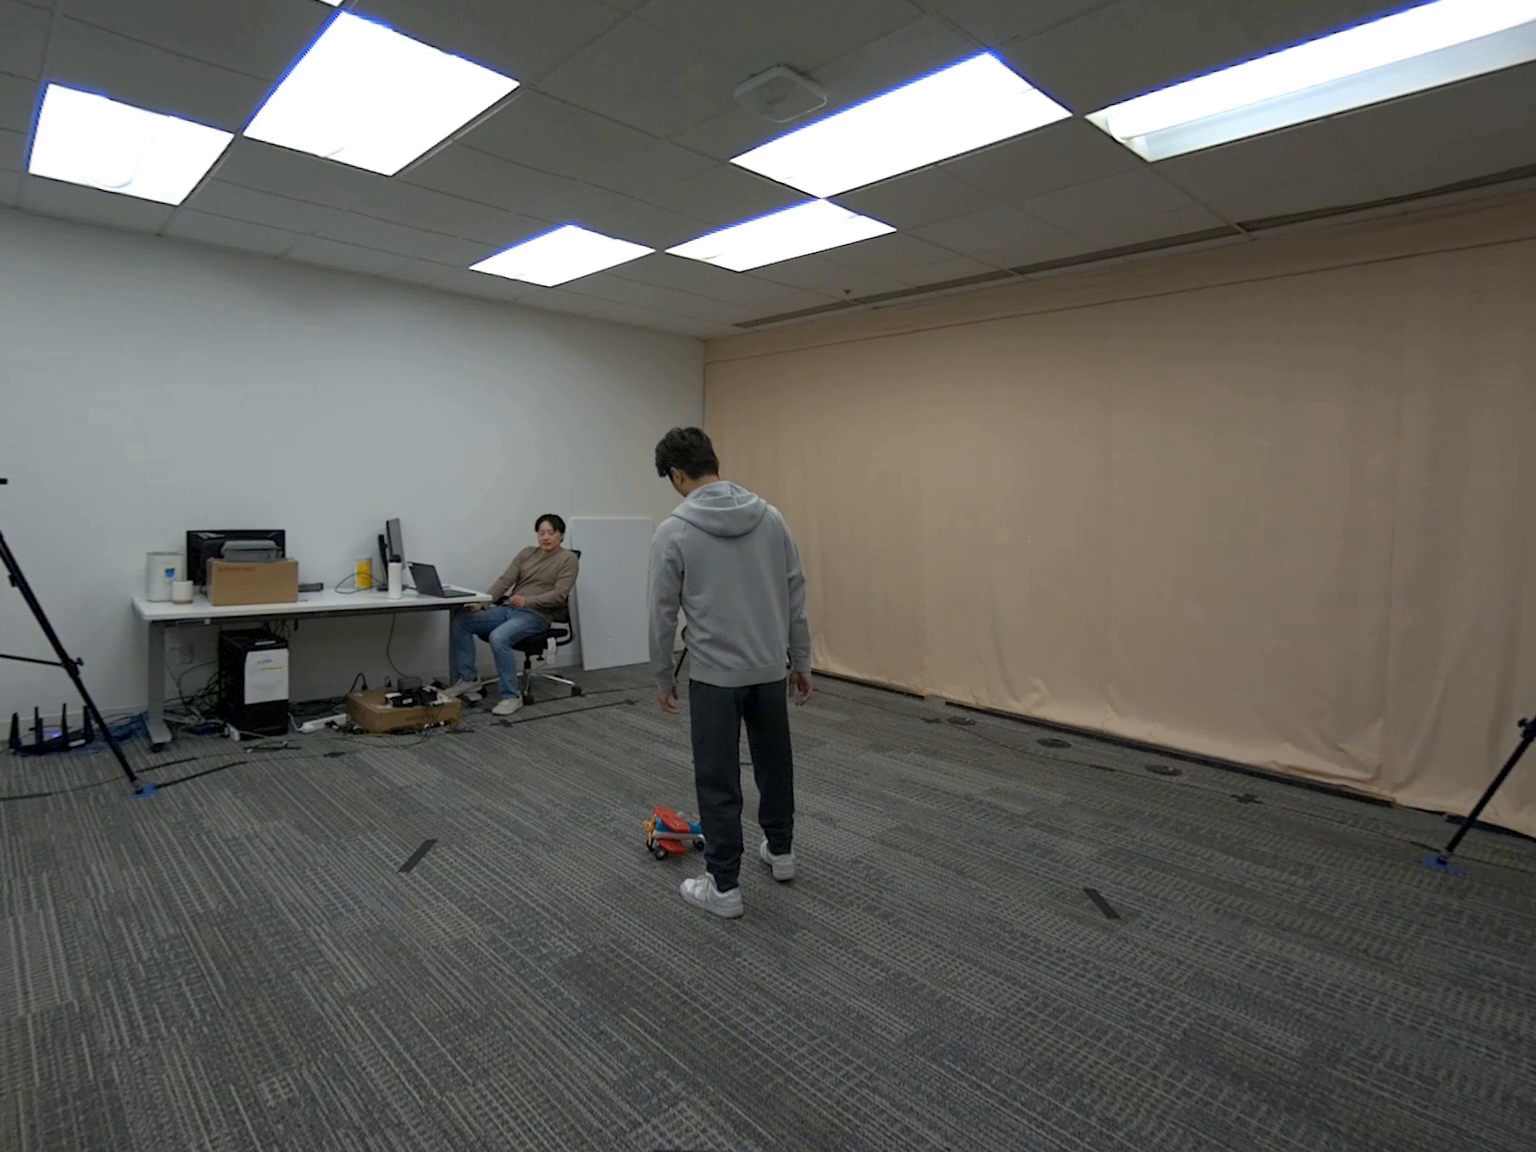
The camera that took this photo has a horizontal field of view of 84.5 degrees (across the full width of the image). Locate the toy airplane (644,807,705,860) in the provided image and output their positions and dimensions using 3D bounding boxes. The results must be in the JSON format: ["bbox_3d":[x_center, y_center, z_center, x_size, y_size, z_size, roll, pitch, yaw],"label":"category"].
[{"bbox_3d":[-0.369,1.007,3.315,0.257,0.156,0.254,5,7,35],"label":"toy airplane"}]
